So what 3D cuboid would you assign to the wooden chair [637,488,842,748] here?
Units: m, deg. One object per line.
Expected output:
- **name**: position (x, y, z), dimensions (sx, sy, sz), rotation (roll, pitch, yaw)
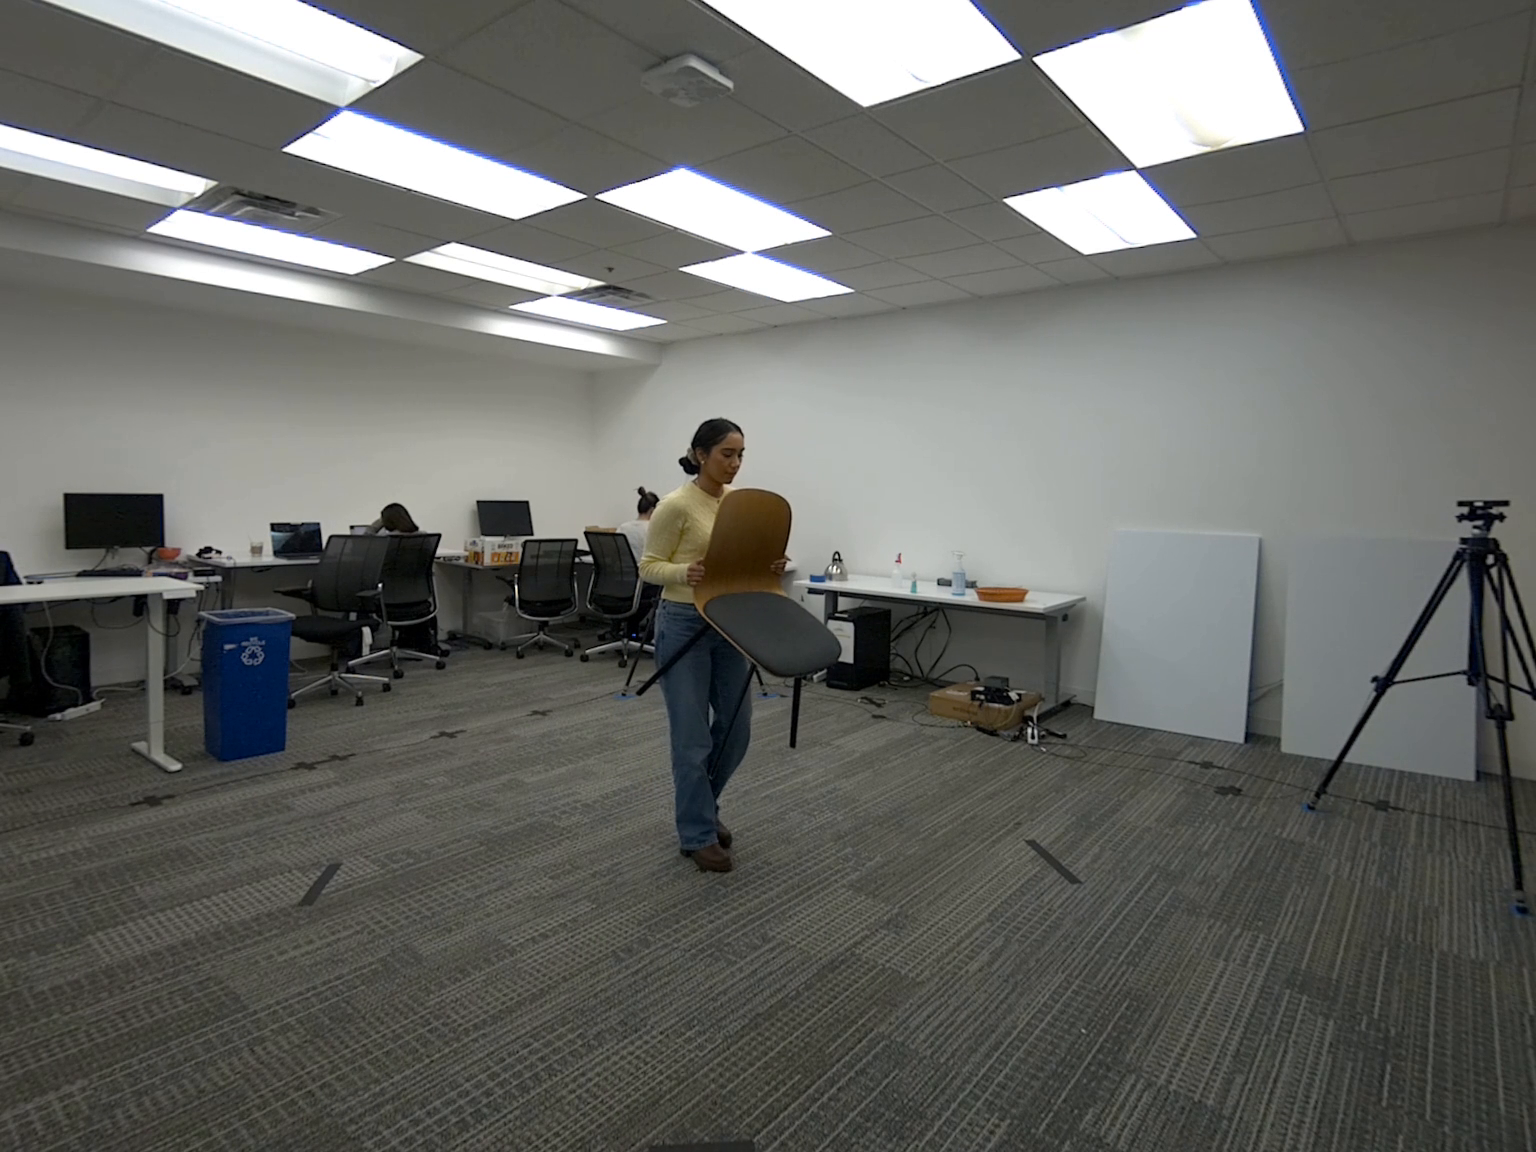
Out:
- **wooden chair**: position (-0.038, 0.196, 3.007), dimensions (0.464, 0.868, 0.545), rotation (-4, 31, -48)
